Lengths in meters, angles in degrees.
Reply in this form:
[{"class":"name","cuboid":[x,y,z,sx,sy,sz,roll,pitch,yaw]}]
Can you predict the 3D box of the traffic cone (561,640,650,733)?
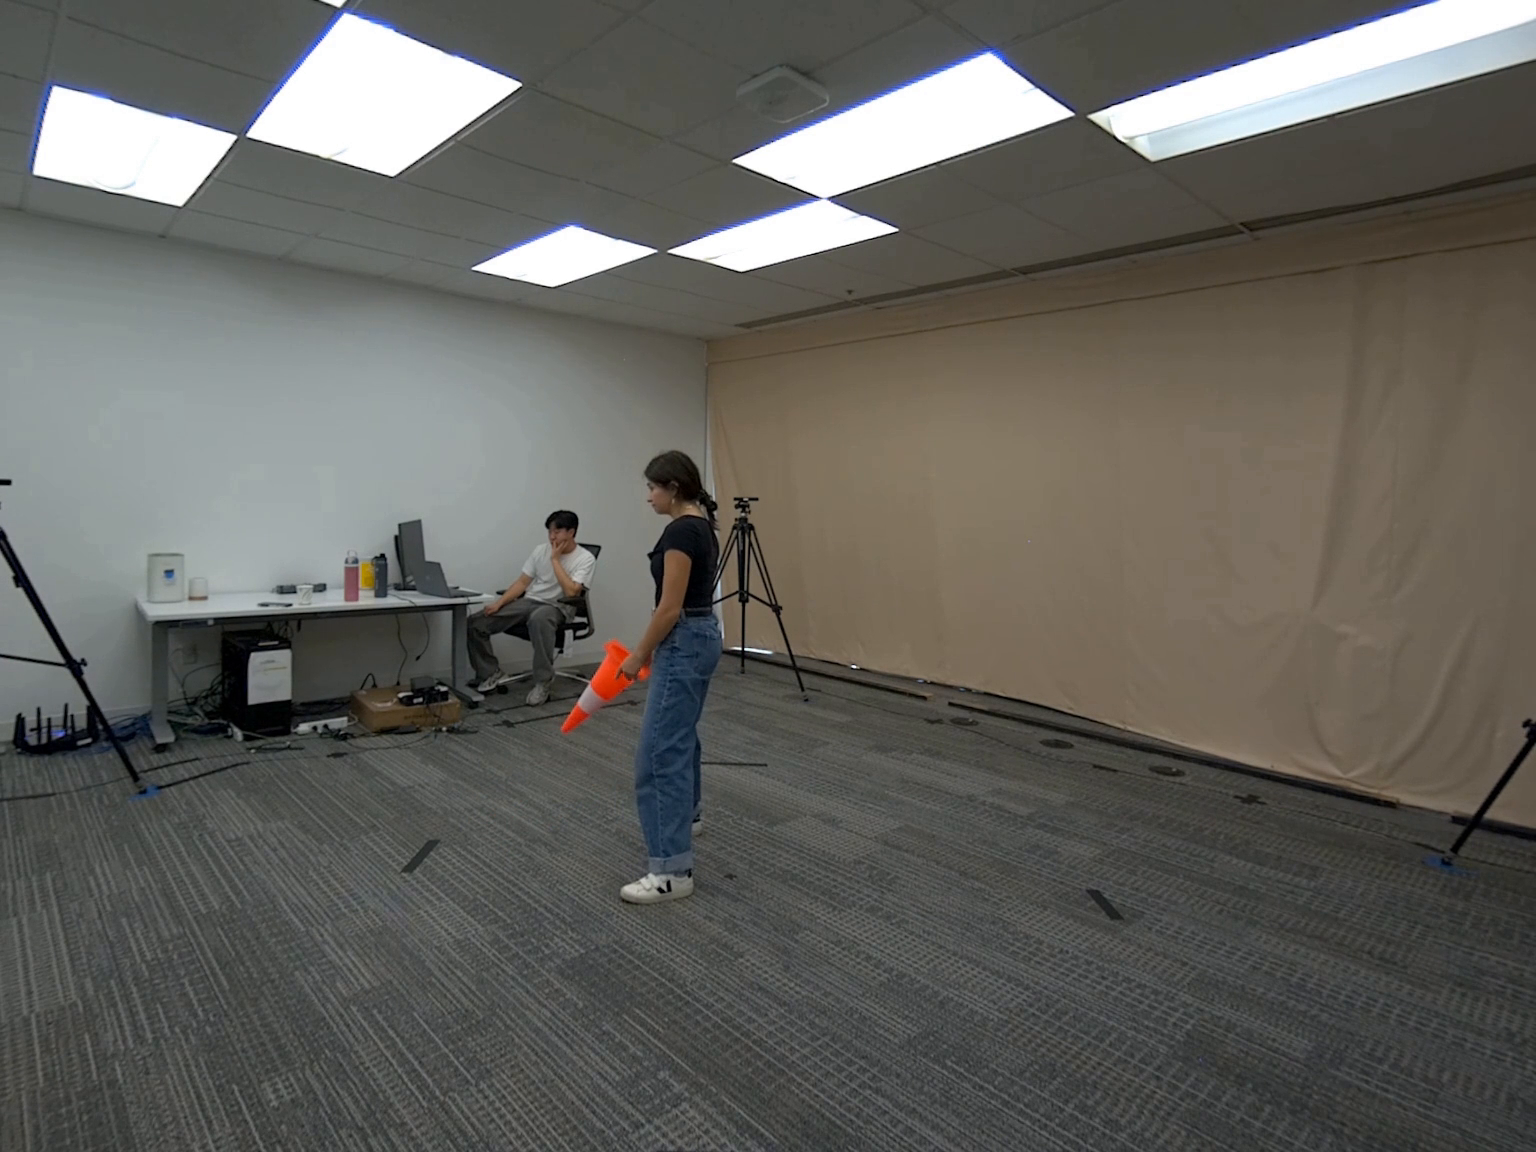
[{"class":"traffic cone","cuboid":[-0.666,0.461,3.236,0.206,0.383,0.202,44,4,3]}]
